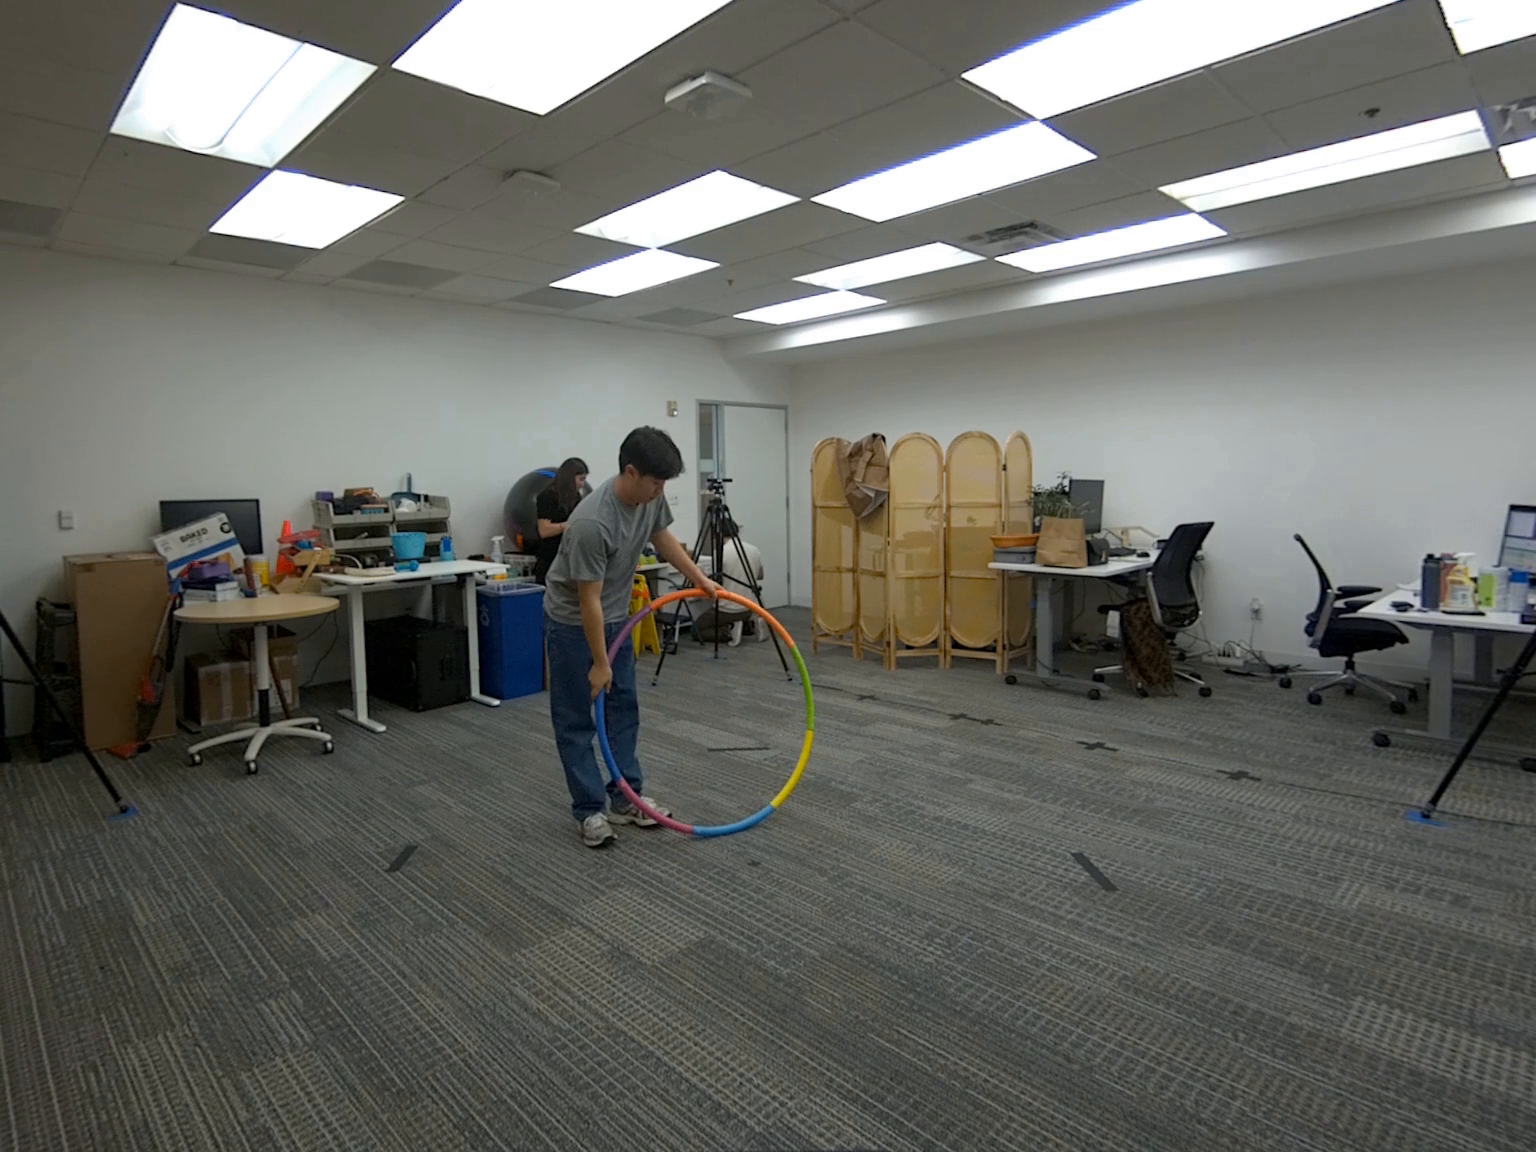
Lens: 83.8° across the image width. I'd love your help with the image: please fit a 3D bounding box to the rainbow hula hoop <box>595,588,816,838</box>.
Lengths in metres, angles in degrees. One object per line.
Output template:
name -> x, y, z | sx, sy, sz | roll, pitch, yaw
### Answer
rainbow hula hoop -> -0.230, 0.530, 3.473 | 0.956, 0.992, 0.036 | -4, -14, -28
